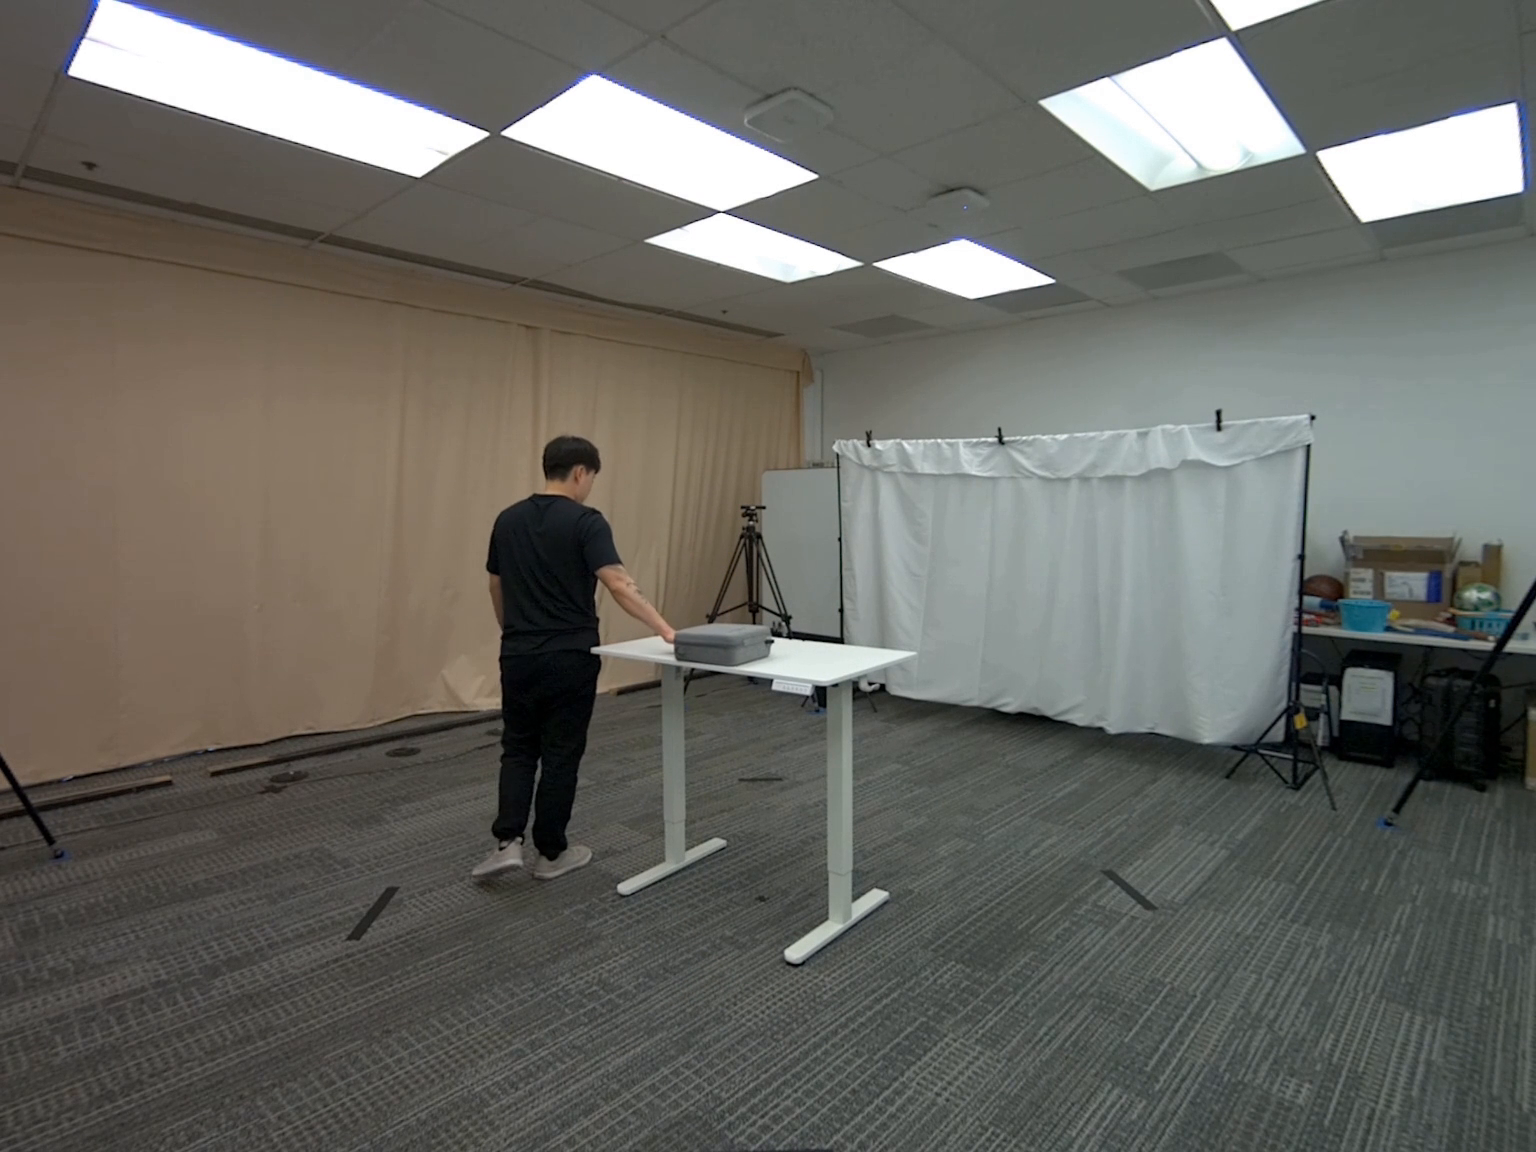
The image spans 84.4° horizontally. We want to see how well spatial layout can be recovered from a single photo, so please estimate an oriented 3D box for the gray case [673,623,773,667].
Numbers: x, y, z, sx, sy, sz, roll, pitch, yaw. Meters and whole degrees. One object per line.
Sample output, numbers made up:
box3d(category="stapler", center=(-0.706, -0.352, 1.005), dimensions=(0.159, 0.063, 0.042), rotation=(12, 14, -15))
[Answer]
box3d(category="gray case", center=(-0.144, 0.224, 2.806), dimensions=(0.268, 0.104, 0.250), rotation=(1, 6, 33))
